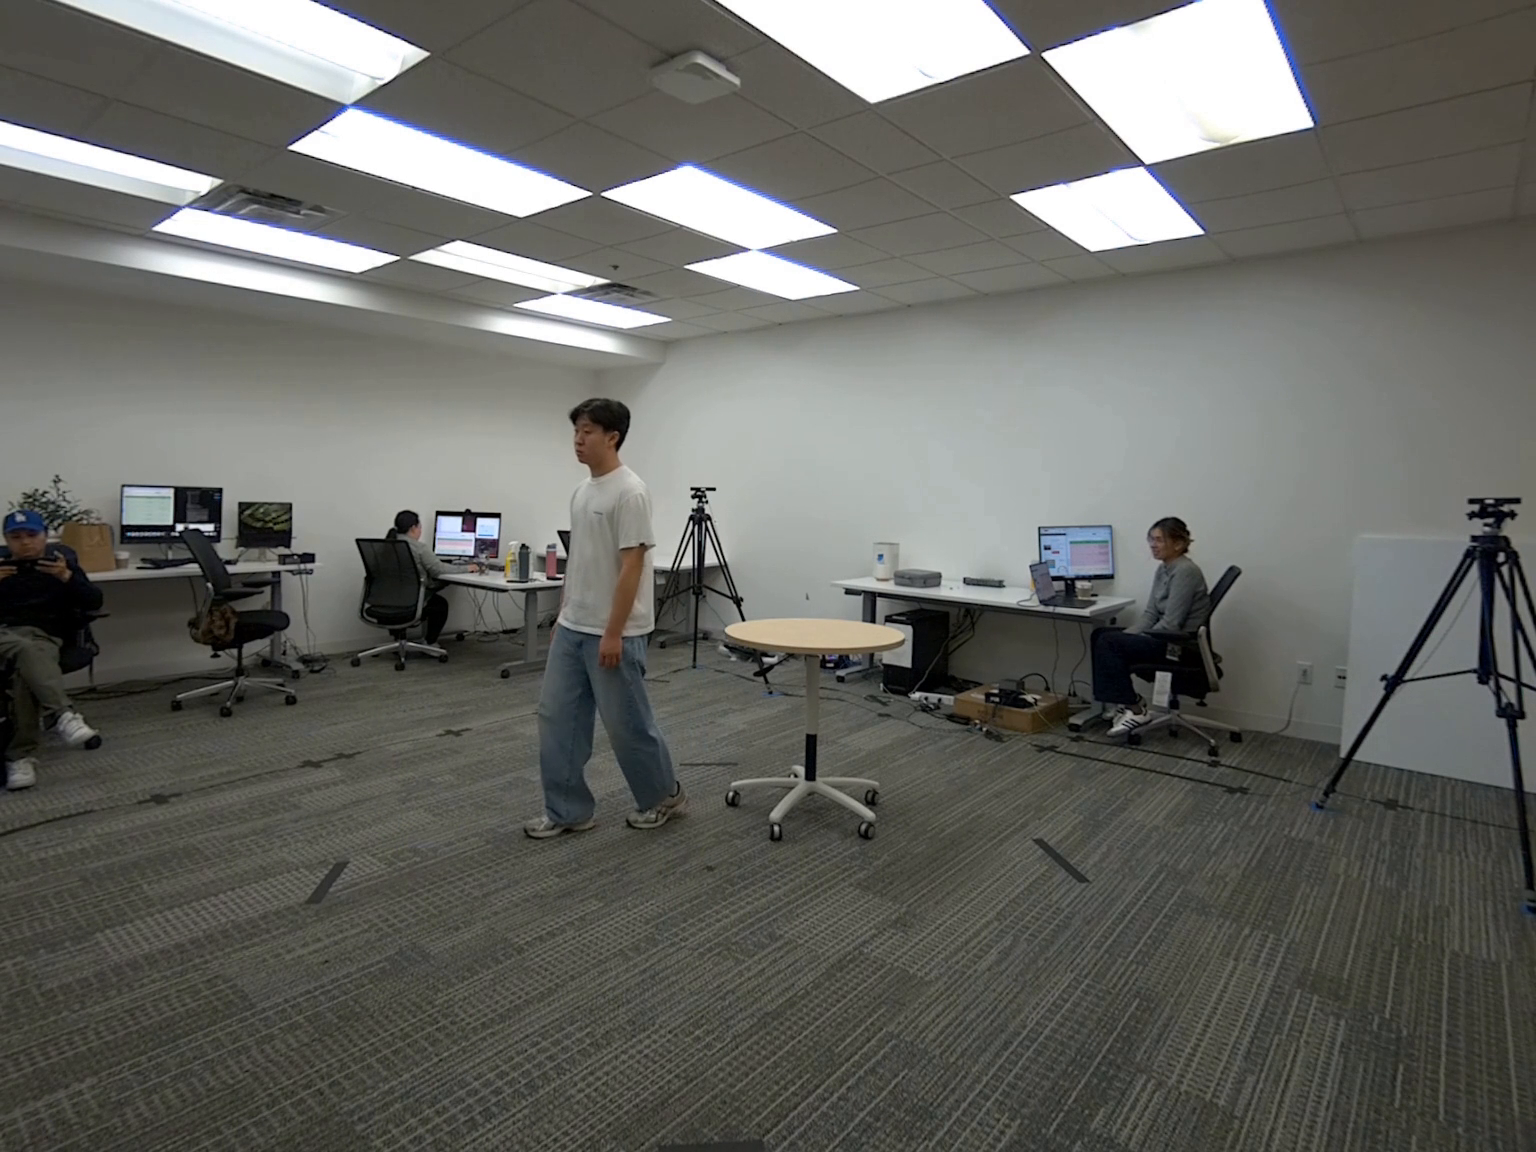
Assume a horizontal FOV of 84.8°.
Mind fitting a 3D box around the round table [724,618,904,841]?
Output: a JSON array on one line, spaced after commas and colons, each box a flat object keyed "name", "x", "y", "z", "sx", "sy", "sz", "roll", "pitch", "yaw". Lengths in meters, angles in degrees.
[{"name": "round table", "x": 0.174, "y": 0.635, "z": 3.665, "sx": 0.763, "sy": 0.791, "sz": 0.768, "roll": 1, "pitch": 4, "yaw": -2}]
